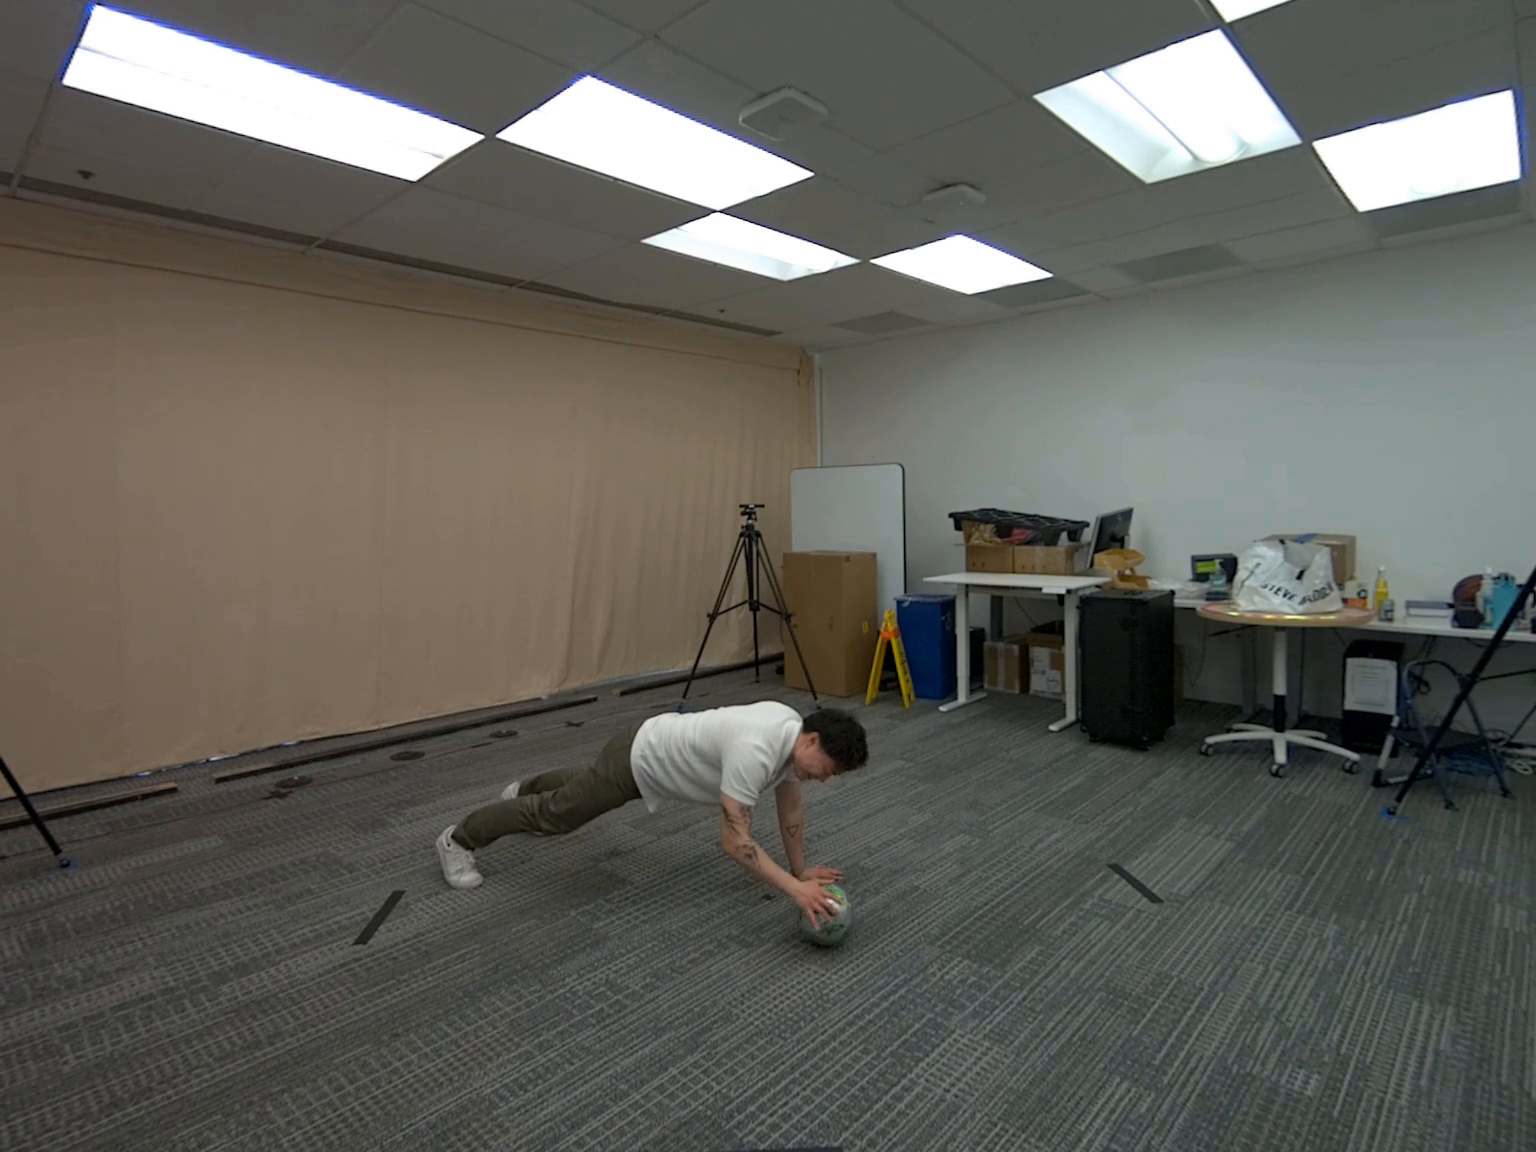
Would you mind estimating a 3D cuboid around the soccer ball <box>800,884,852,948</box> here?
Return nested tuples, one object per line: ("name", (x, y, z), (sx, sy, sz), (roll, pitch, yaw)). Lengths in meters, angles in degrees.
("soccer ball", (0.184, 1.071, 2.673), (0.187, 0.187, 0.188), (-1, 4, -2))
